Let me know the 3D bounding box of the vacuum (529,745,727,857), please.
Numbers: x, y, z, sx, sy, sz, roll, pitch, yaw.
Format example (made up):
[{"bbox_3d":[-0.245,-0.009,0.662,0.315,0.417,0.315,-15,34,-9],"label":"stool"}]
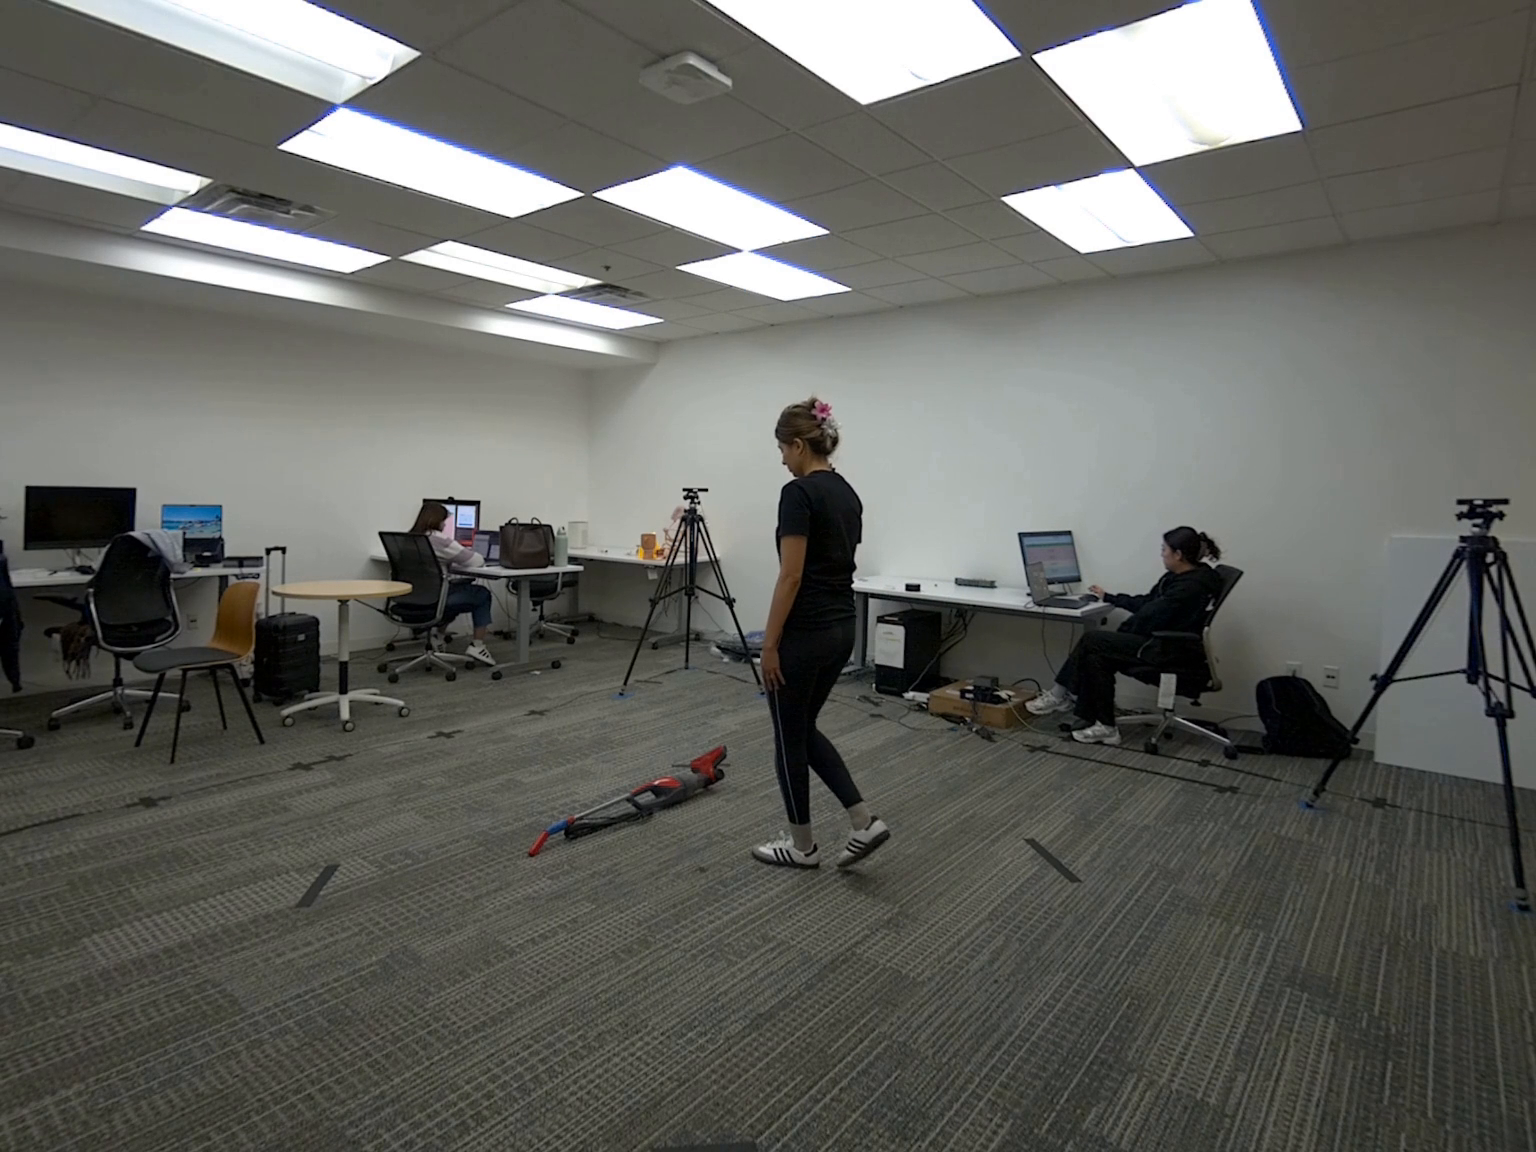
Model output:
[{"bbox_3d":[-0.587,0.971,3.586,0.255,0.146,1.023,-33,-12,38],"label":"vacuum"}]
